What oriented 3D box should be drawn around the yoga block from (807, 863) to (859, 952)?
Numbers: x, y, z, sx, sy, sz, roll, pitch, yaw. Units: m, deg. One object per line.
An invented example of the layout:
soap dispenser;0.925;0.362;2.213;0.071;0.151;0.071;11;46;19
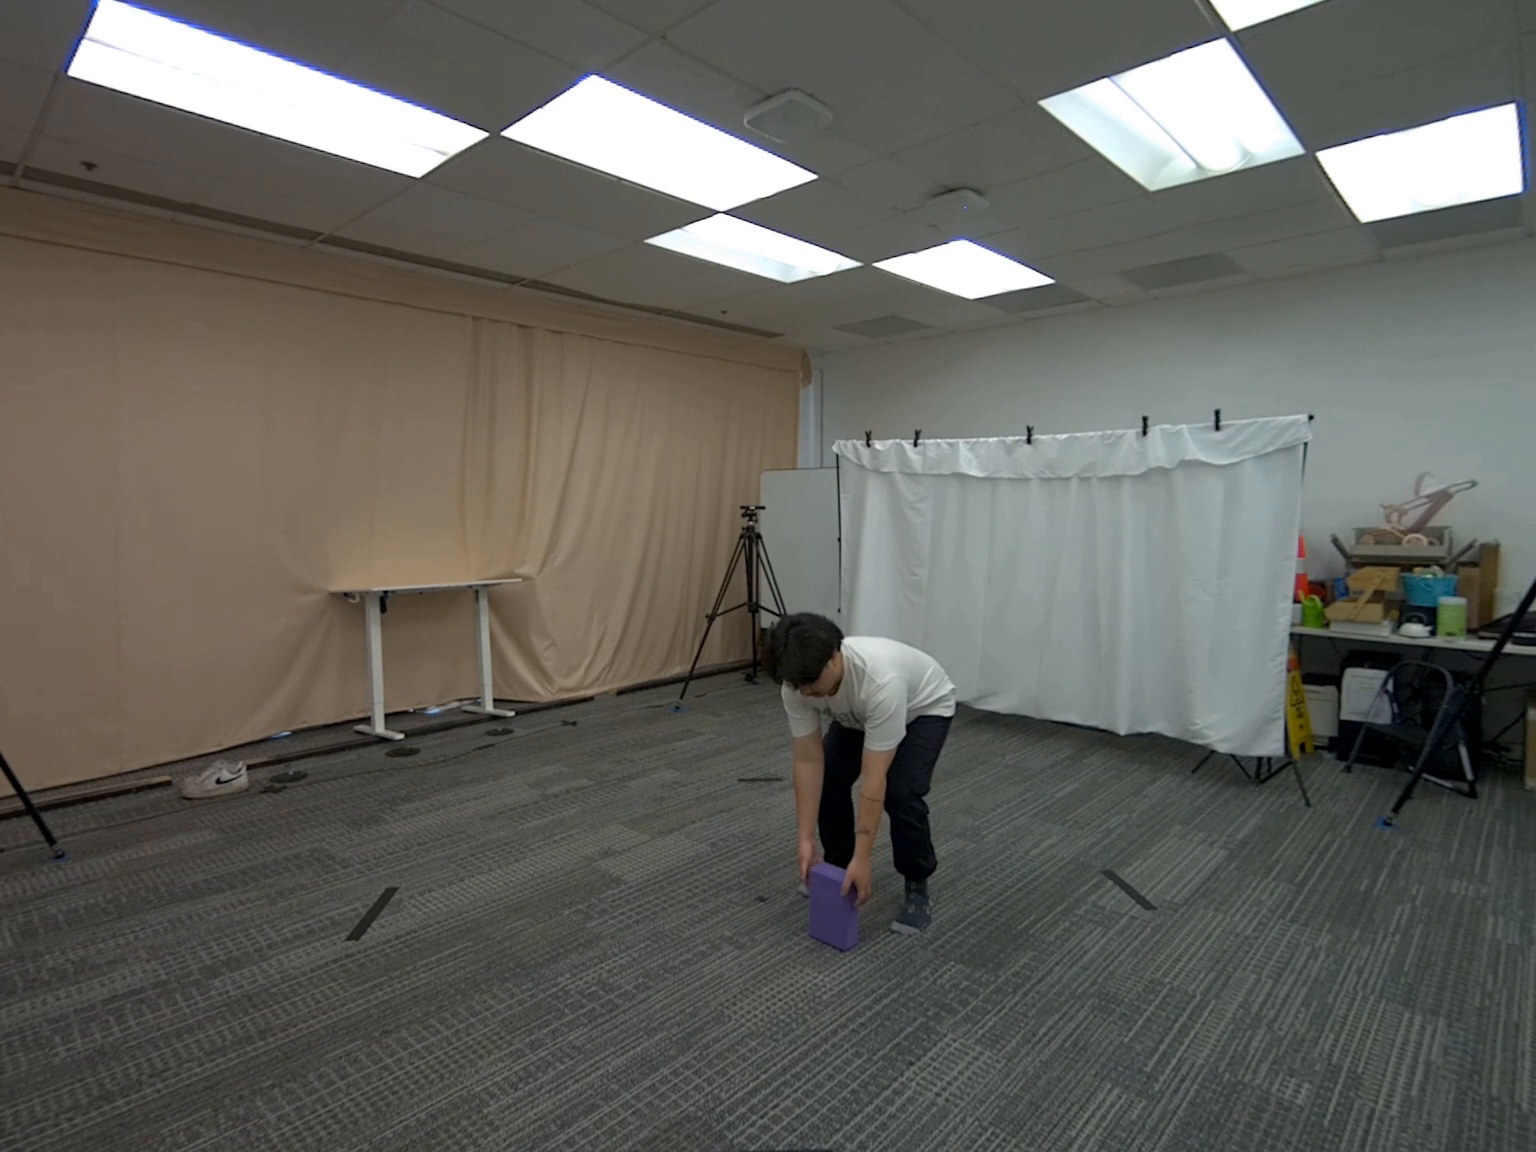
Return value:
yoga block;0.212;1.052;2.688;0.154;0.228;0.074;7;8;41
